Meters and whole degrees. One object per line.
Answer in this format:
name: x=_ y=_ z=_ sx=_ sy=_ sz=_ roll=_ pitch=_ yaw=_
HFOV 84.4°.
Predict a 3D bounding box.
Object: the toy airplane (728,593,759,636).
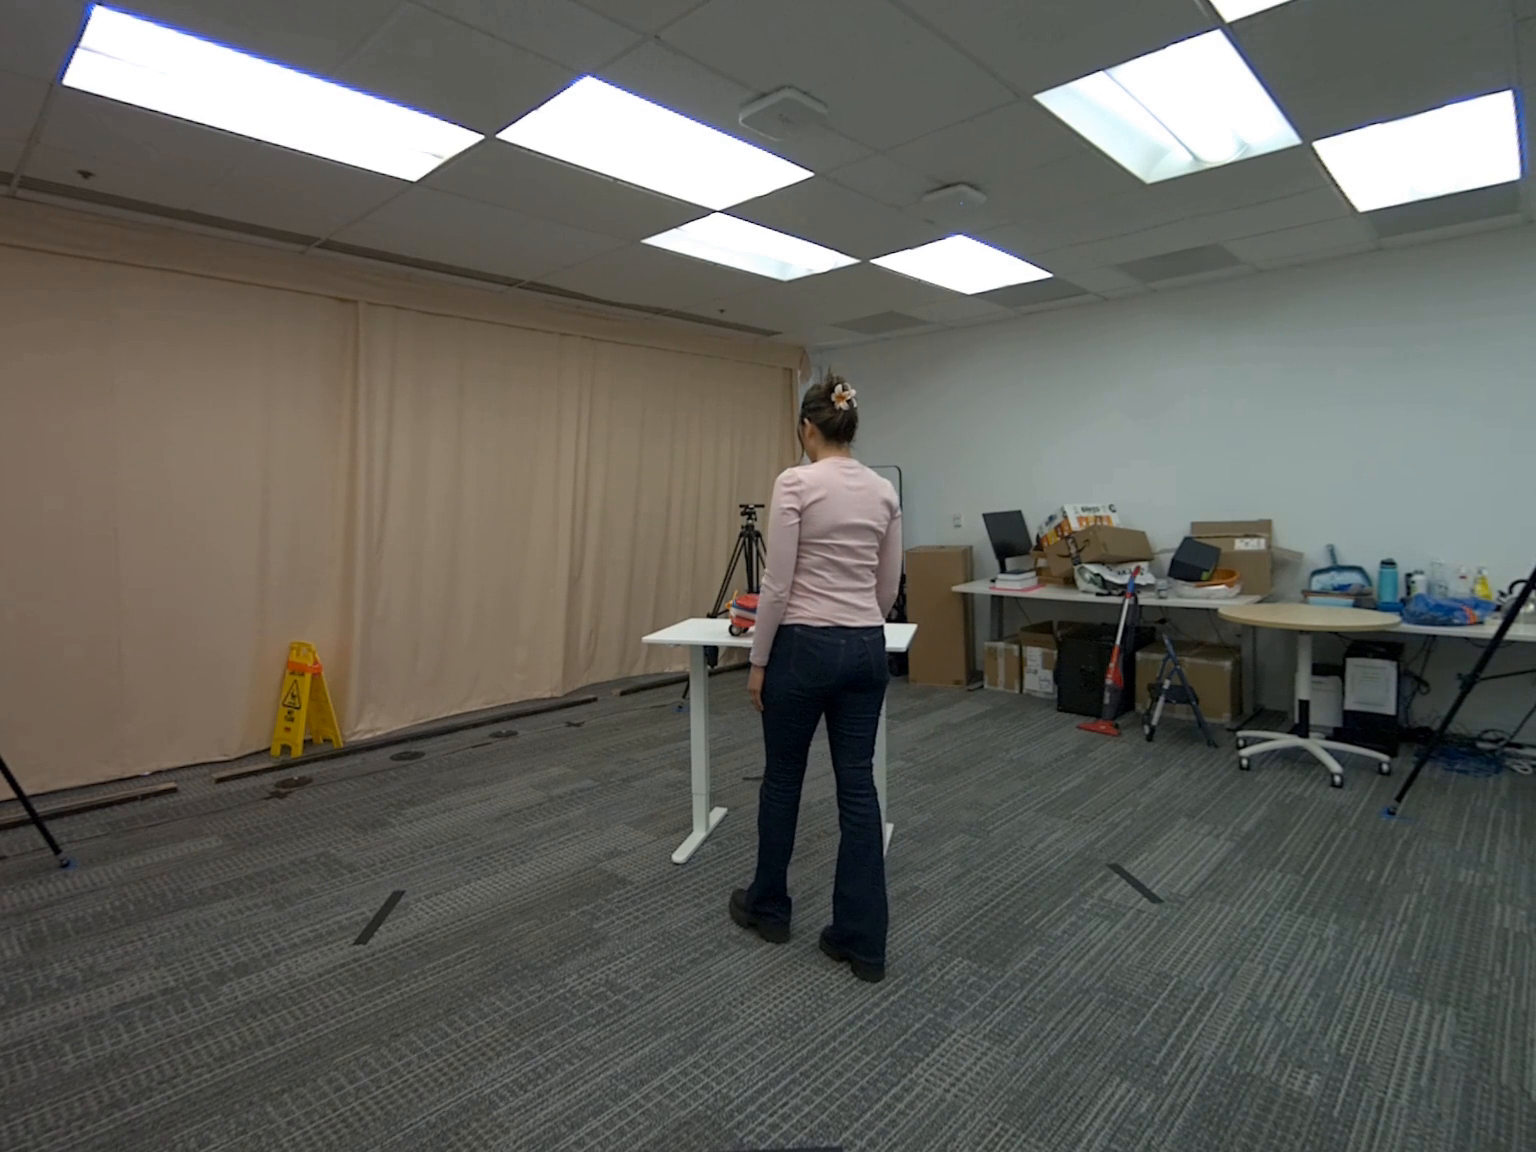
toy airplane: x=-0.029 y=0.154 z=3.302 sx=0.256 sy=0.156 sz=0.254 roll=-2 pitch=5 yaw=-11
